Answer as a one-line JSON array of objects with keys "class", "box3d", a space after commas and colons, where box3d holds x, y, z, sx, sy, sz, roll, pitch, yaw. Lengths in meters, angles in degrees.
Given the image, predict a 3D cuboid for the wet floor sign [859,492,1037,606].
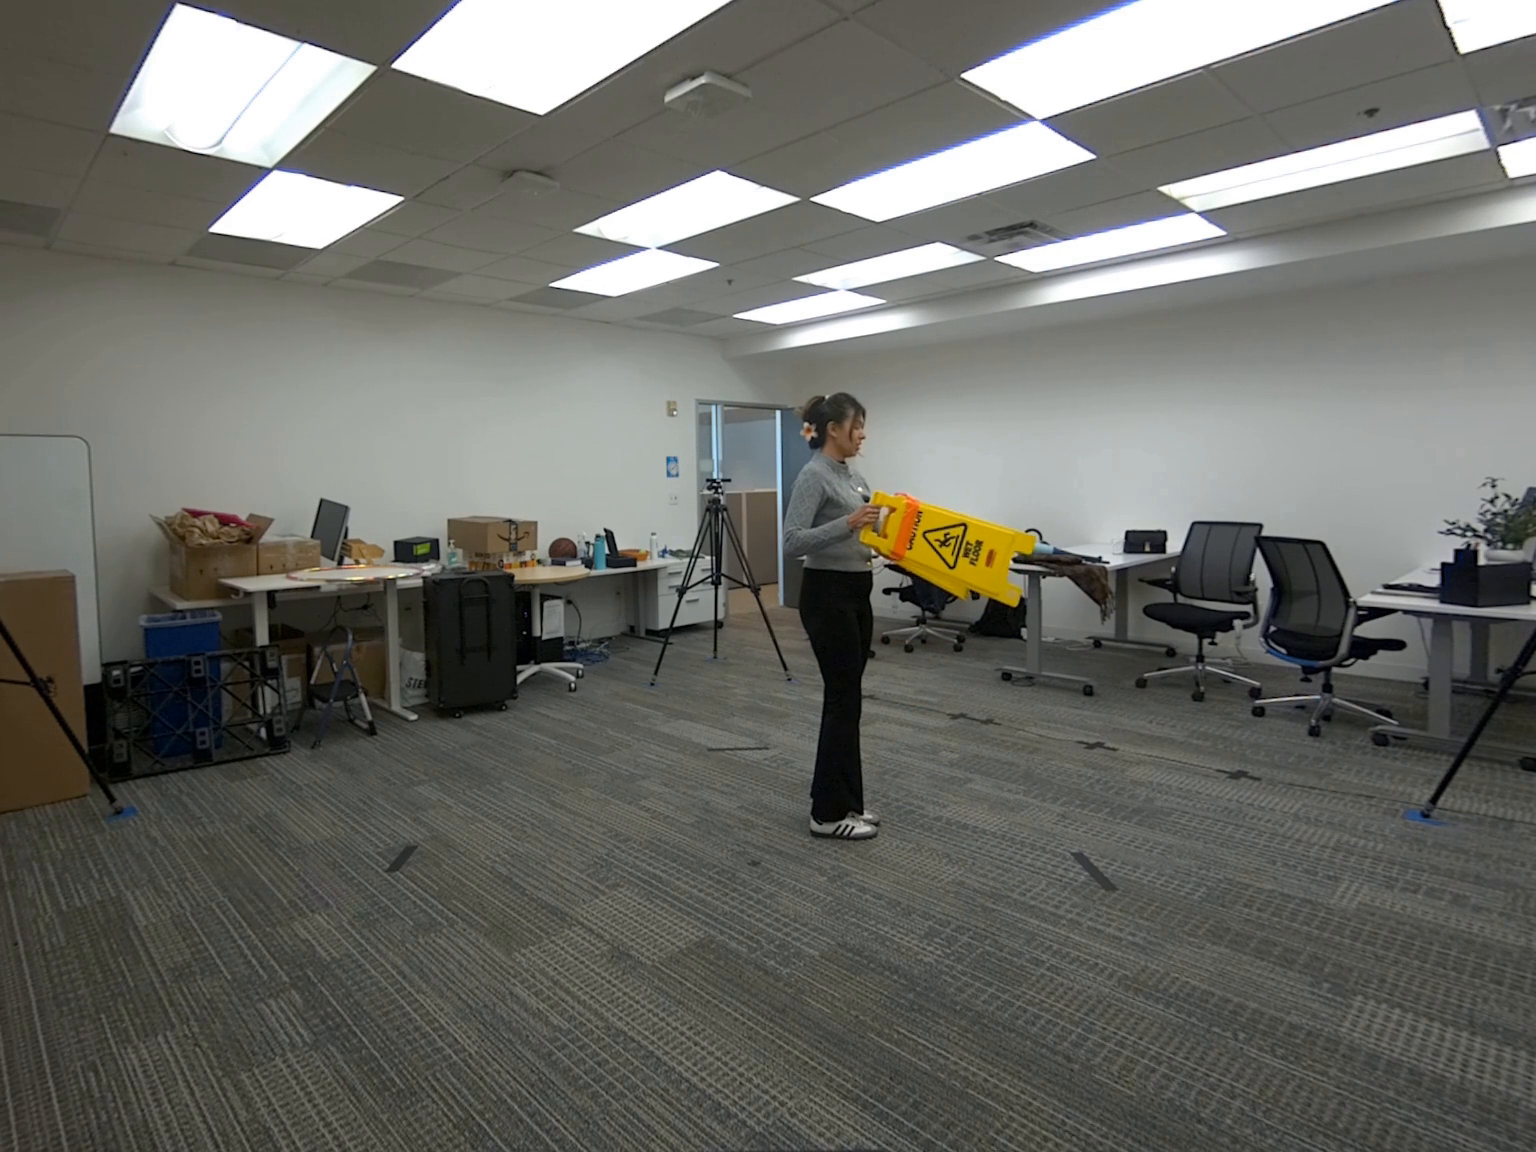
[{"class": "wet floor sign", "box3d": [0.620, -0.120, 3.186, 0.629, 0.283, 0.297, 20, -5, -24]}]
